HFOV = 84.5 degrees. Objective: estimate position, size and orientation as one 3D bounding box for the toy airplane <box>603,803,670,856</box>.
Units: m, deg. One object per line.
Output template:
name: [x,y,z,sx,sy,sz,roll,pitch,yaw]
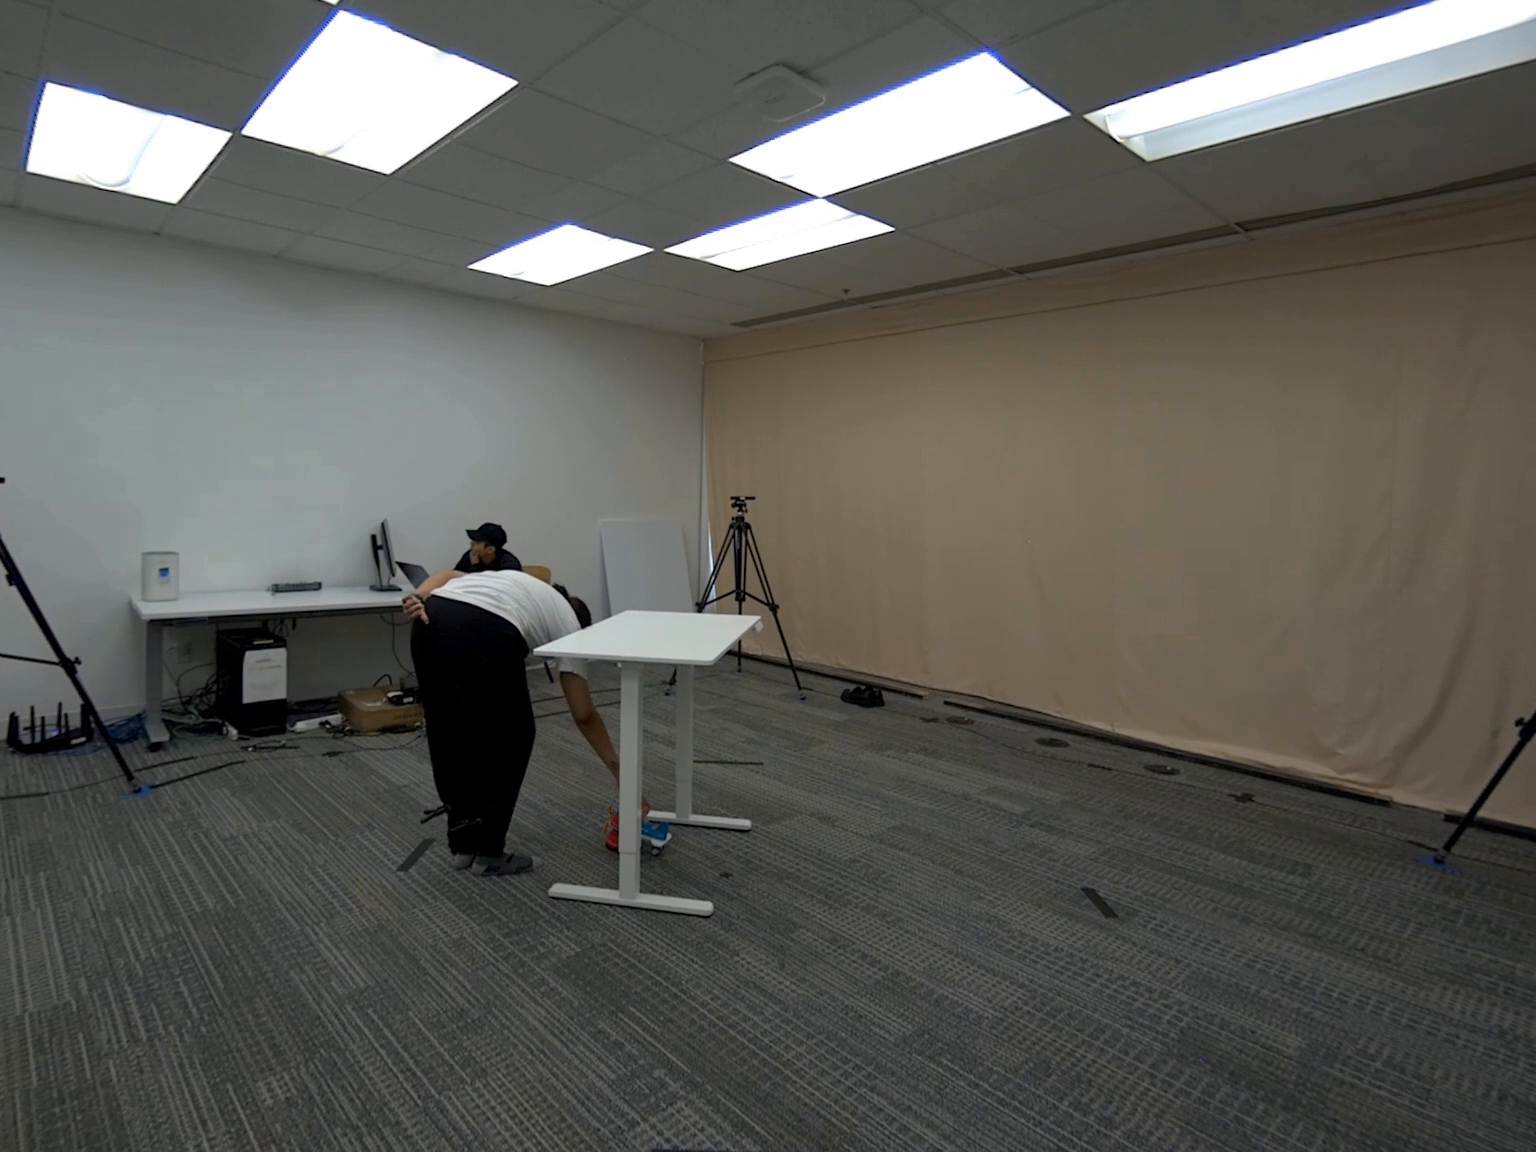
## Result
toy airplane: [-0.527,1.005,3.328,0.257,0.156,0.253,-1,5,-9]
